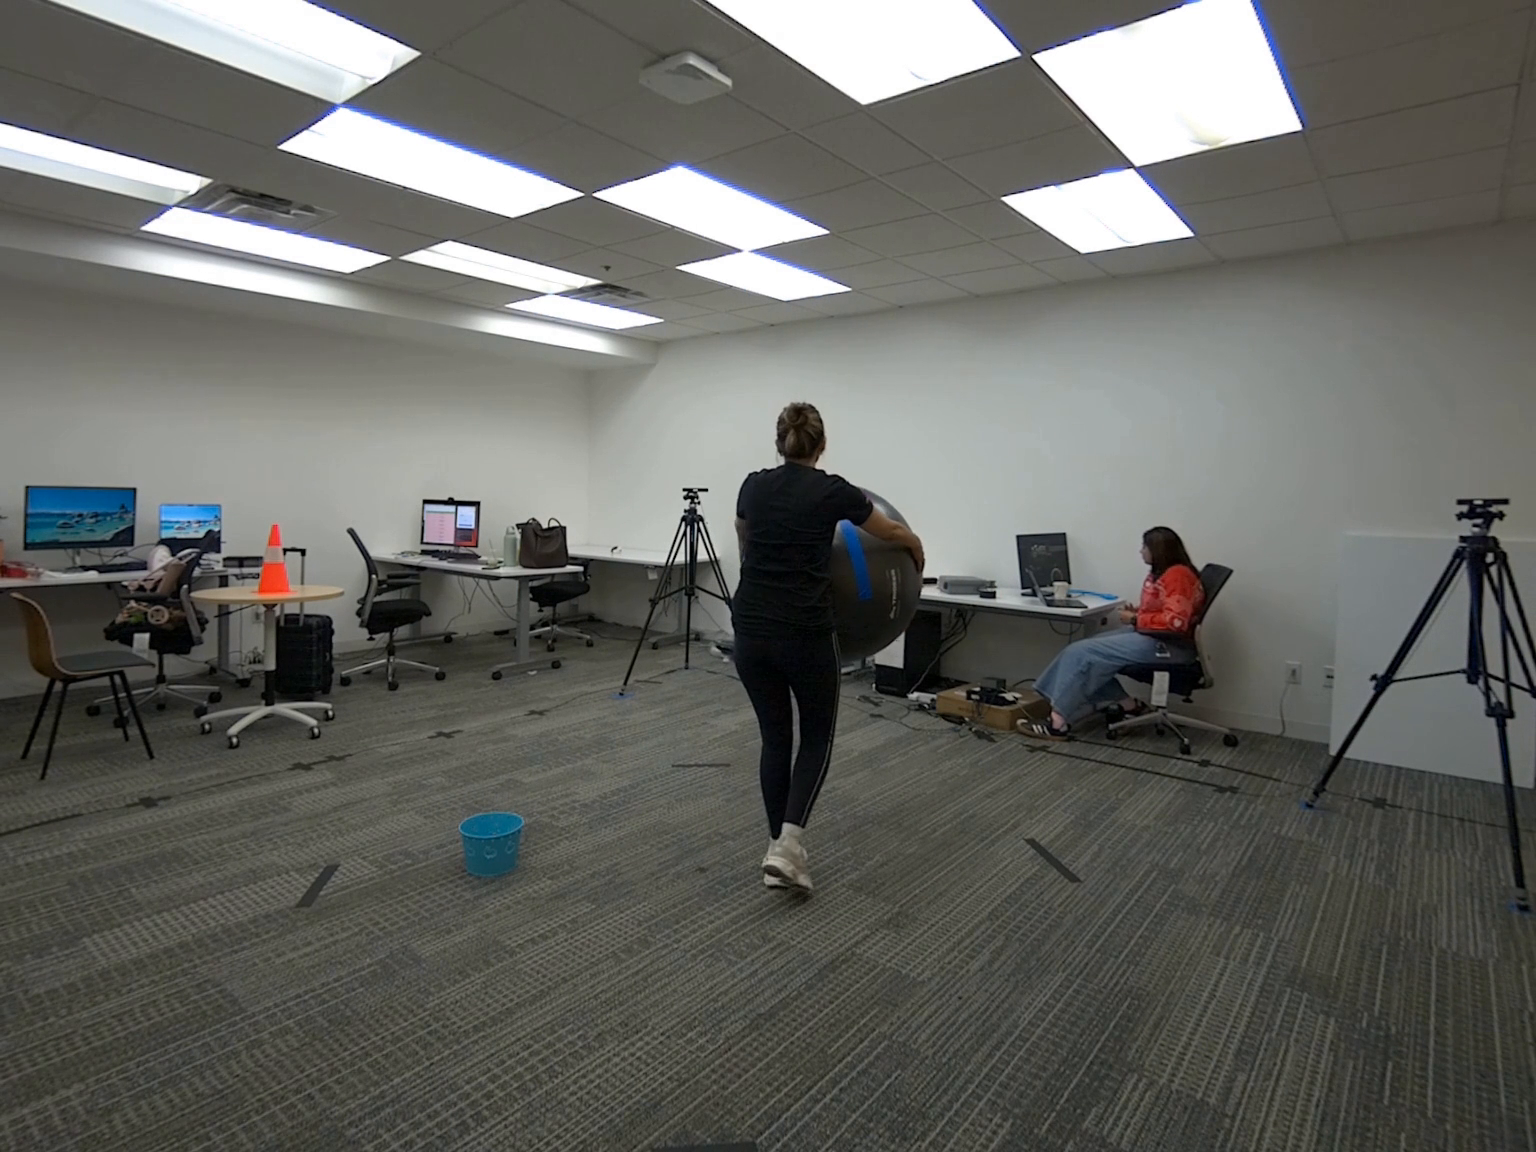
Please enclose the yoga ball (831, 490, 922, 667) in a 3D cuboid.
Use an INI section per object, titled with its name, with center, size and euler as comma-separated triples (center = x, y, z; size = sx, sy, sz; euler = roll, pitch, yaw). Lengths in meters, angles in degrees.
[yoga ball]
center = 0.264, -0.007, 3.576
size = 0.757, 0.756, 0.762
euler = 1, 4, -2
